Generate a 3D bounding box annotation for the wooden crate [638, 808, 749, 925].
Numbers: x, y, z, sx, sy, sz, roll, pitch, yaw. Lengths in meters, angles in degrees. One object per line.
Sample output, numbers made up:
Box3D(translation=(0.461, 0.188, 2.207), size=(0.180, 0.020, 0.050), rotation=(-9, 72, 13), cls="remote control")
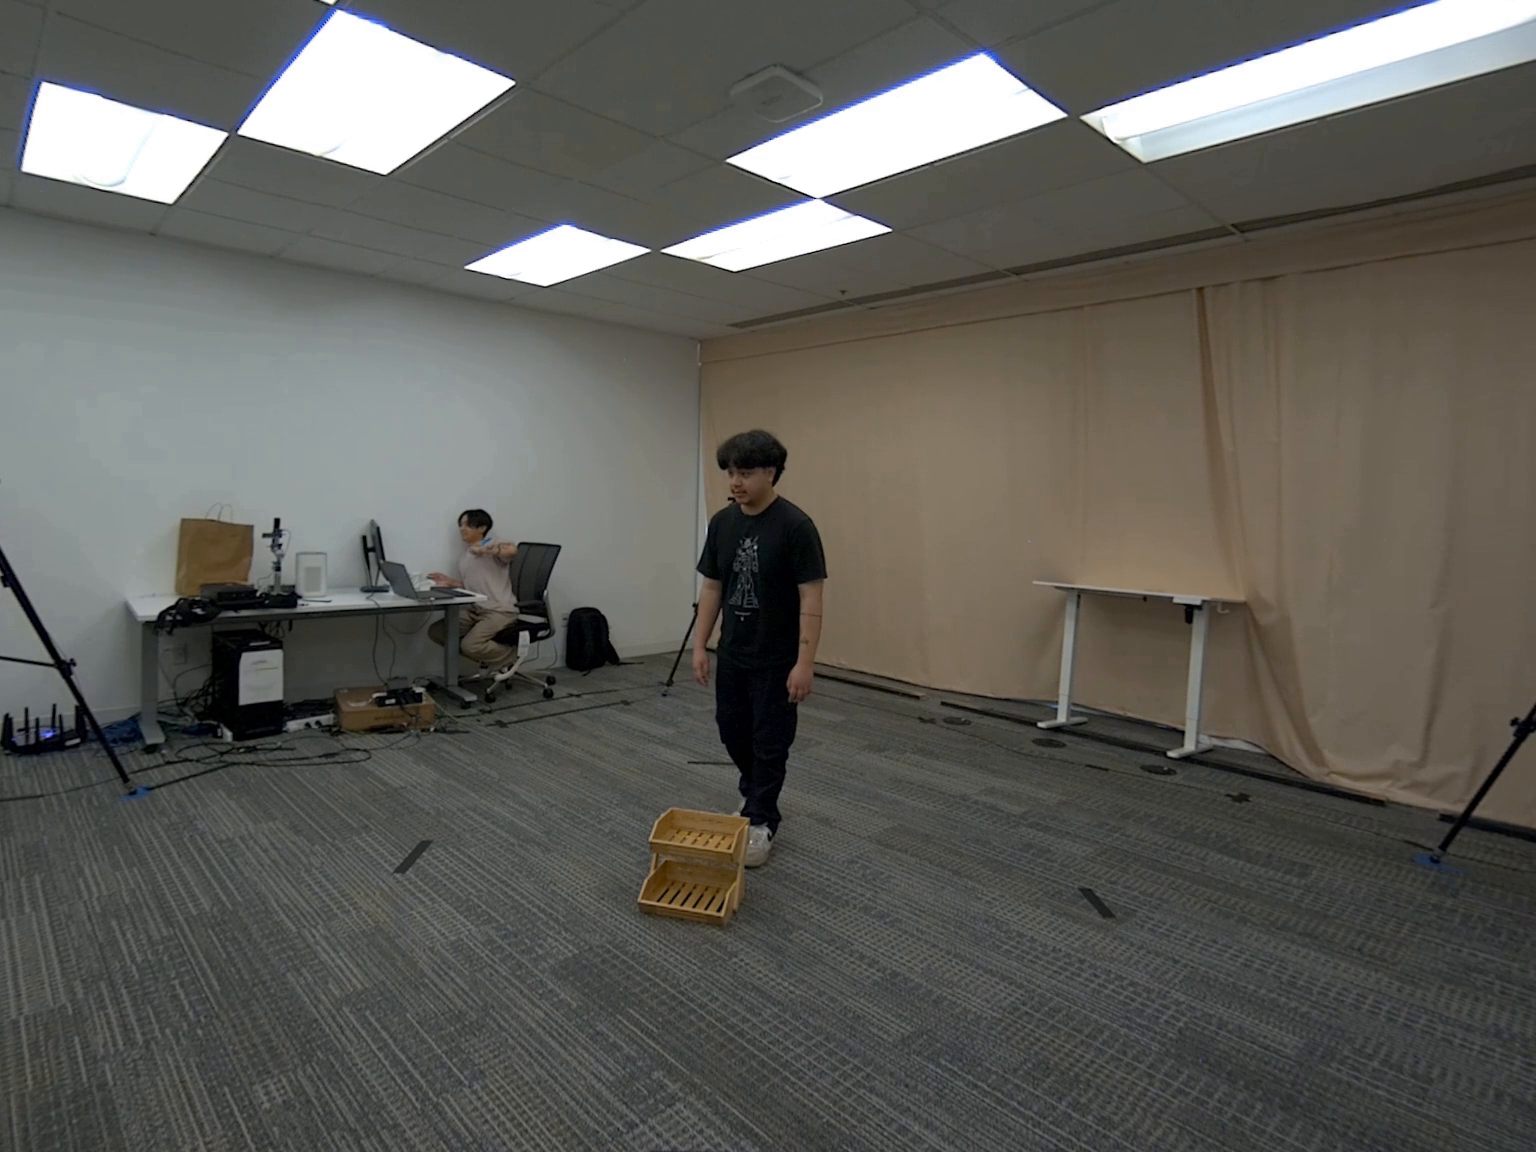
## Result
Box3D(translation=(-0.259, 0.995, 2.889), size=(0.328, 0.272, 0.299), rotation=(2, 5, 15), cls="wooden crate")
